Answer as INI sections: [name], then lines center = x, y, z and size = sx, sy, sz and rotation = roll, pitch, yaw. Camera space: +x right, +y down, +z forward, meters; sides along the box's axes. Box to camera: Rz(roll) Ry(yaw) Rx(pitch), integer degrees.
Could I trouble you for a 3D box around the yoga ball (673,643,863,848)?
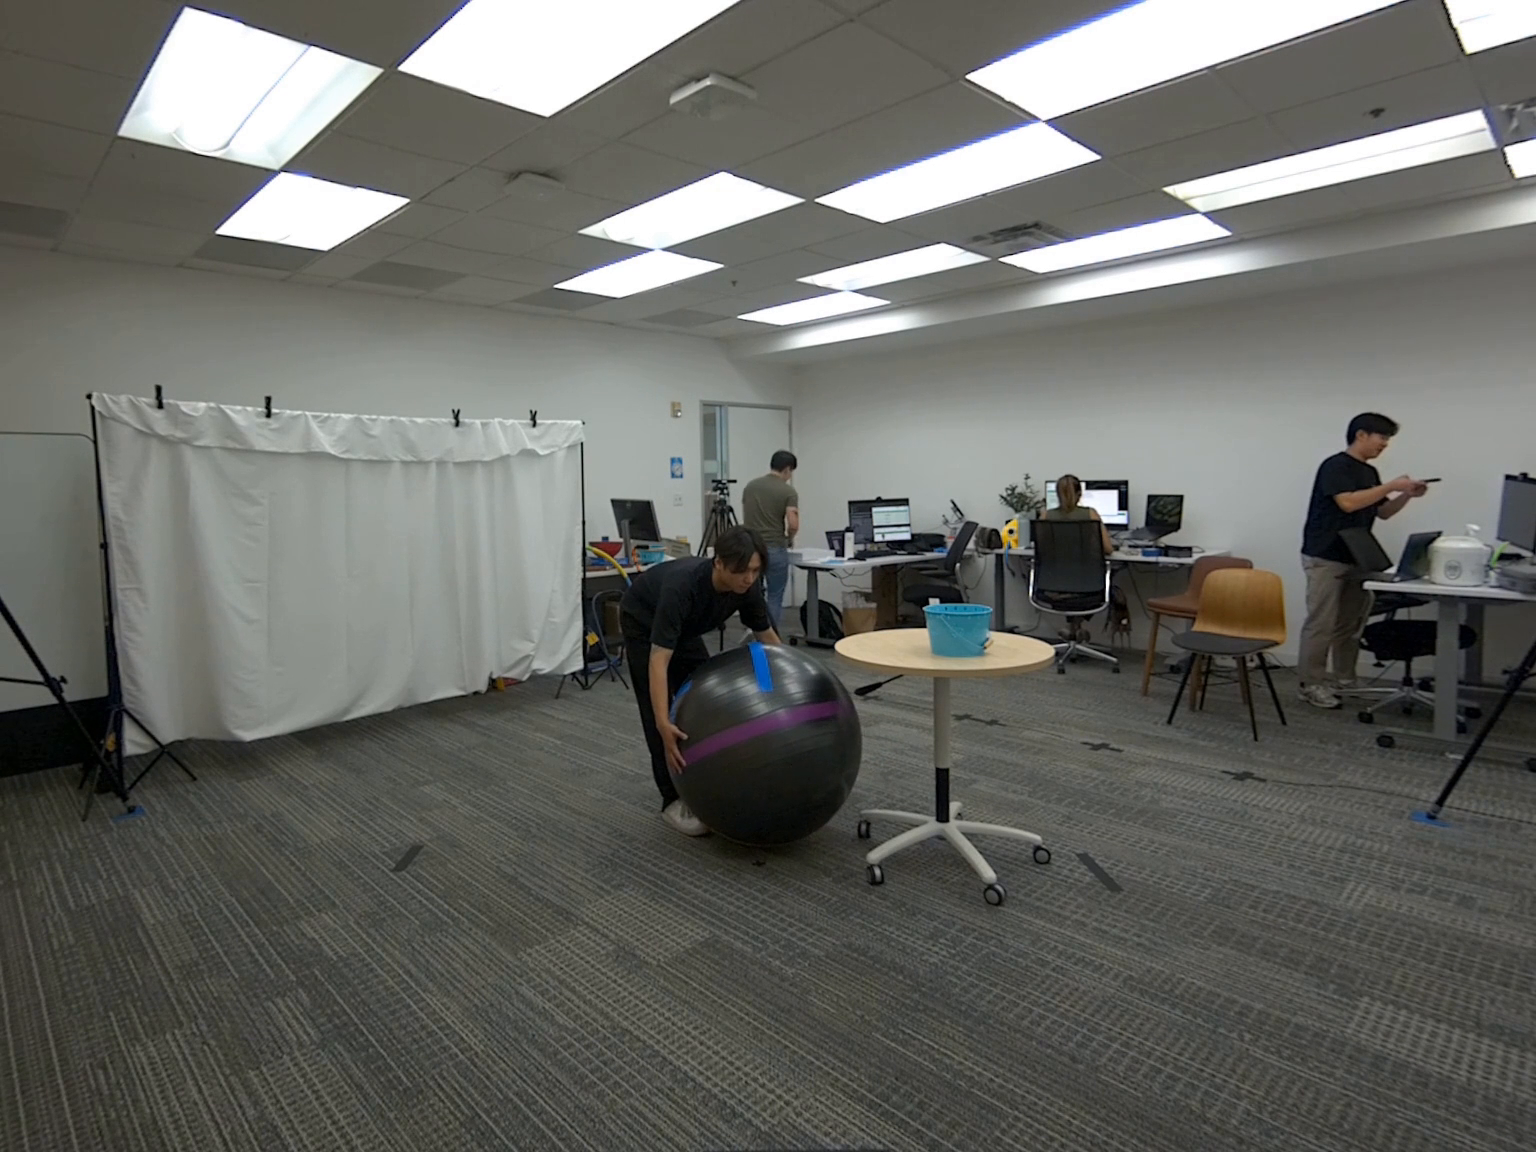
[yoga ball]
center = -0.021, 0.652, 3.316
size = 0.757, 0.755, 0.762
rotation = -1, 5, -2
